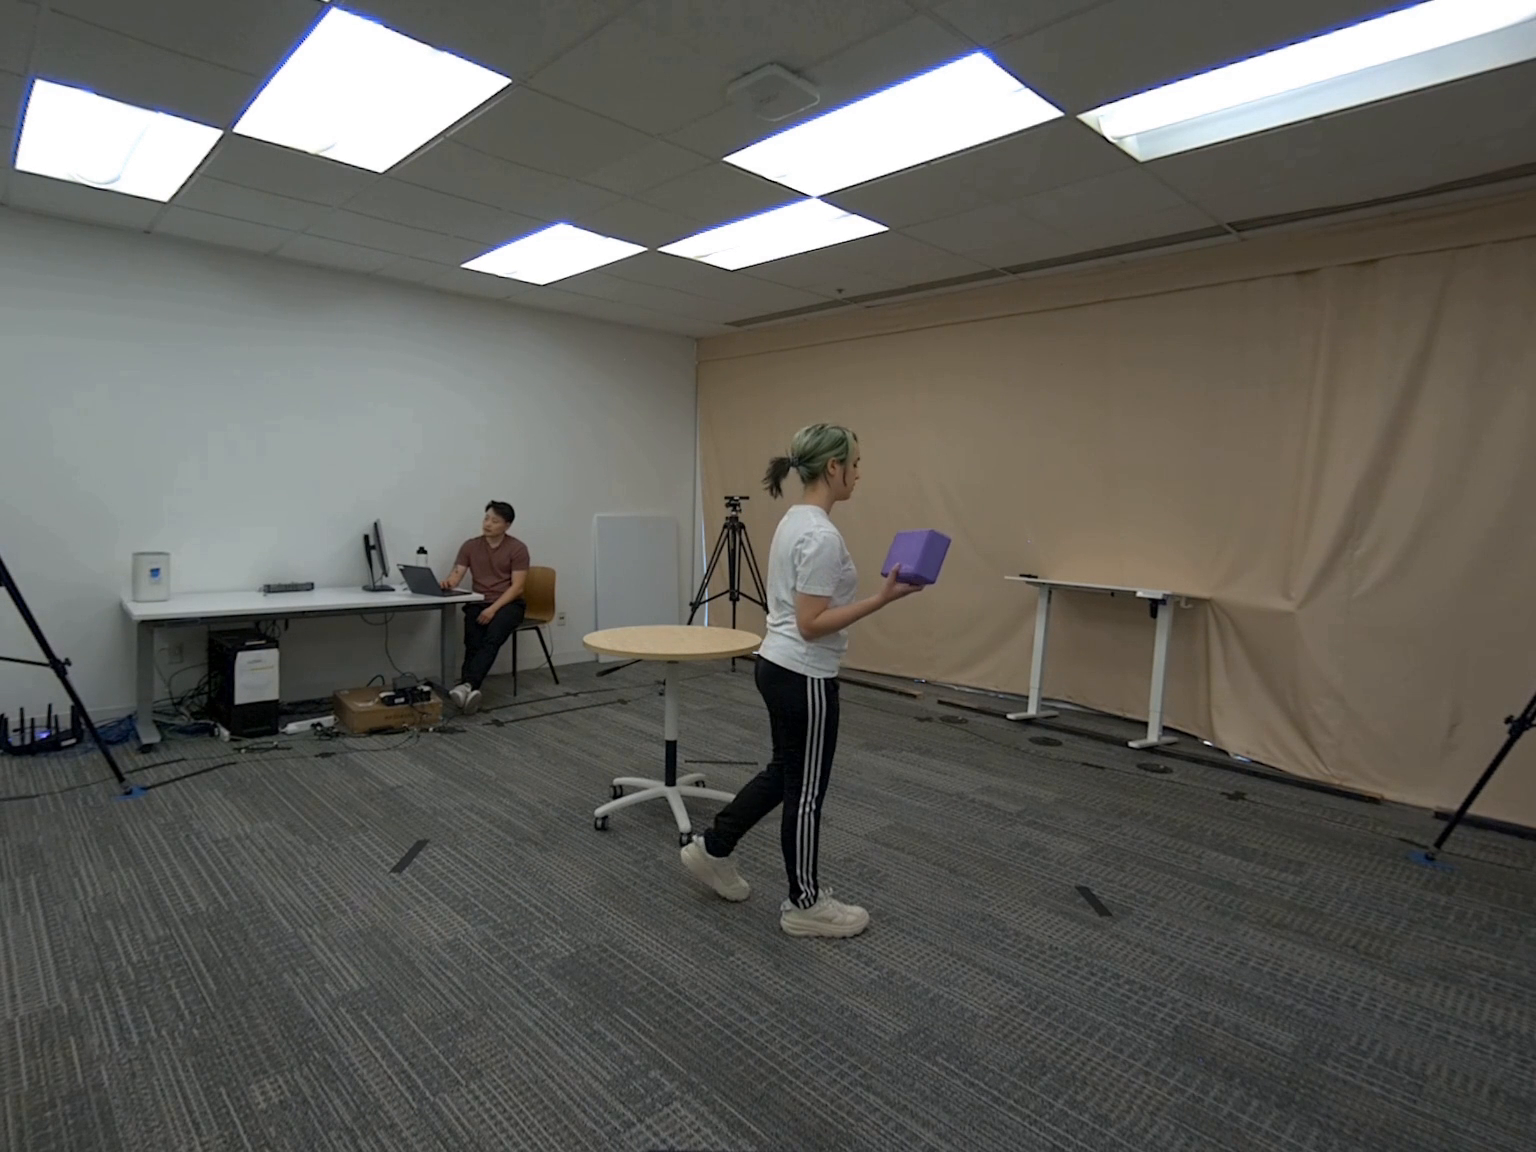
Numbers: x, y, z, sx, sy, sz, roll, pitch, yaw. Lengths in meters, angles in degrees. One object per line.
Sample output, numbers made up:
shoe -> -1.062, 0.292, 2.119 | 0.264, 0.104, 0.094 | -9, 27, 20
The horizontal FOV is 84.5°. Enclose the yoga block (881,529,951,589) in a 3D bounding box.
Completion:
yoga block -> 0.423, -0.054, 2.471 | 0.075, 0.149, 0.232 | 25, -8, -16
